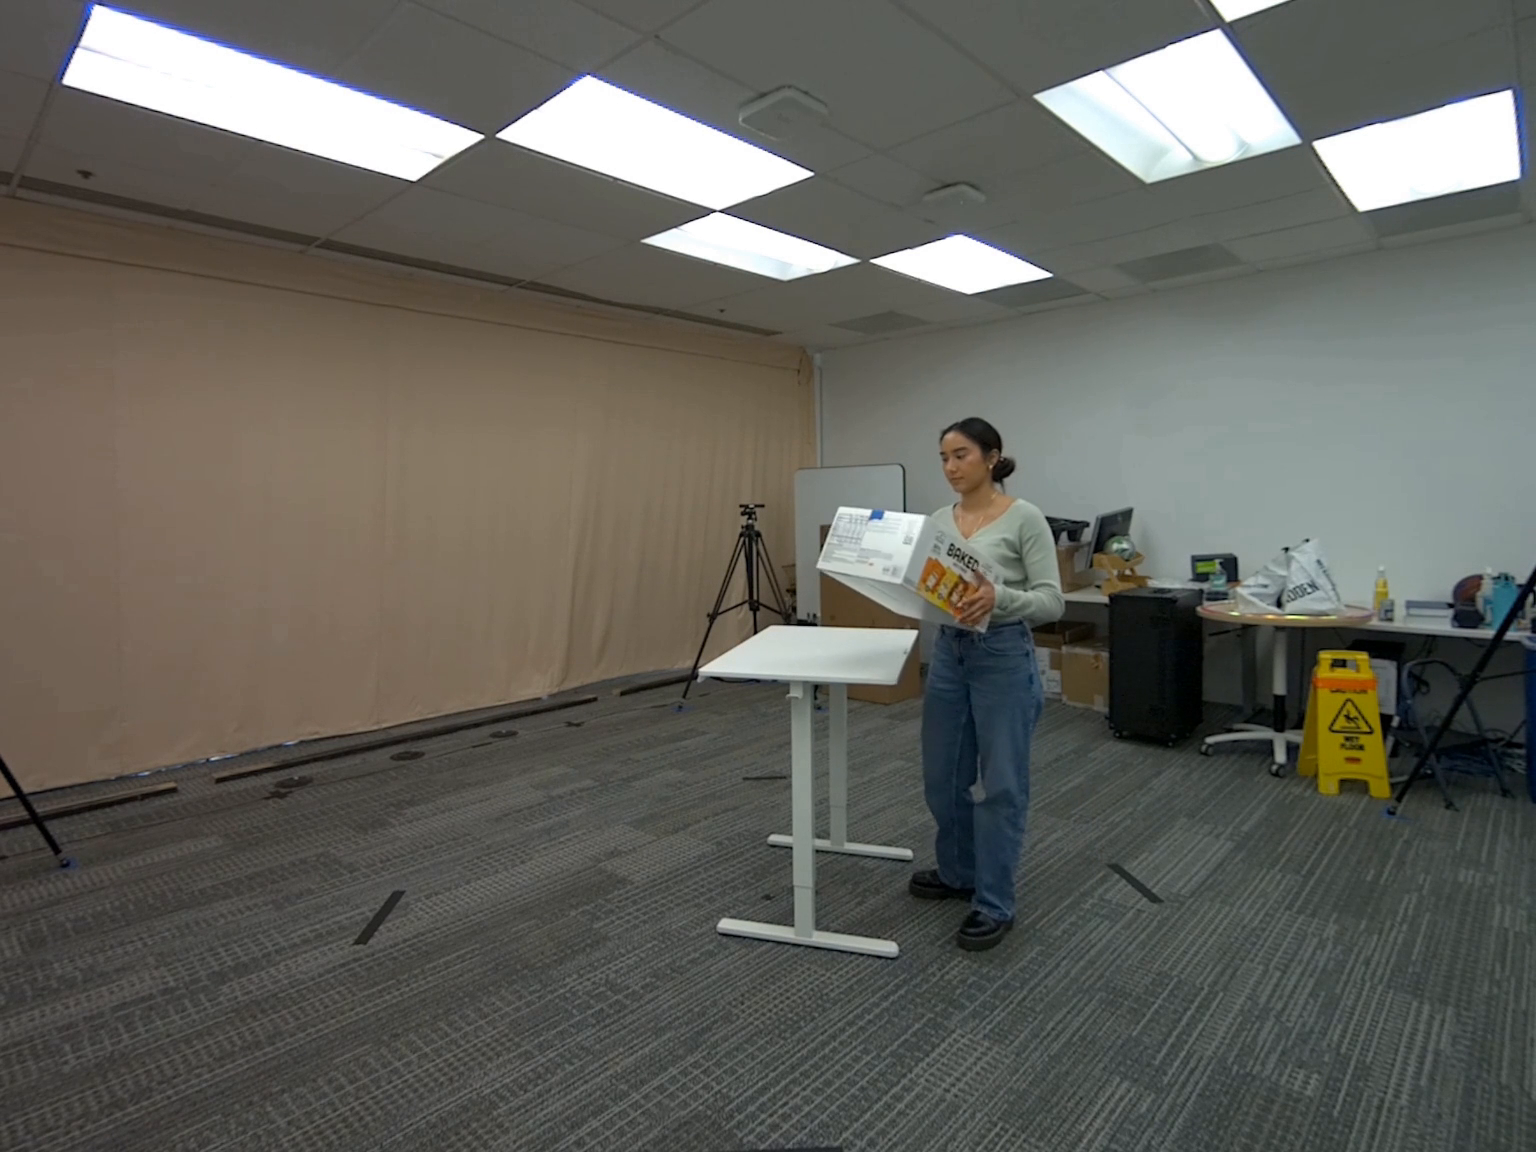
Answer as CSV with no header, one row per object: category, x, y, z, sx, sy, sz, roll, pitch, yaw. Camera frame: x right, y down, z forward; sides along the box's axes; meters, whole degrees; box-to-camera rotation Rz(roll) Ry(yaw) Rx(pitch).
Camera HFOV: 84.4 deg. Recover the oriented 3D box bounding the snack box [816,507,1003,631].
snack box,0.423,-0.023,2.468,0.391,0.206,0.352,28,-11,-36
